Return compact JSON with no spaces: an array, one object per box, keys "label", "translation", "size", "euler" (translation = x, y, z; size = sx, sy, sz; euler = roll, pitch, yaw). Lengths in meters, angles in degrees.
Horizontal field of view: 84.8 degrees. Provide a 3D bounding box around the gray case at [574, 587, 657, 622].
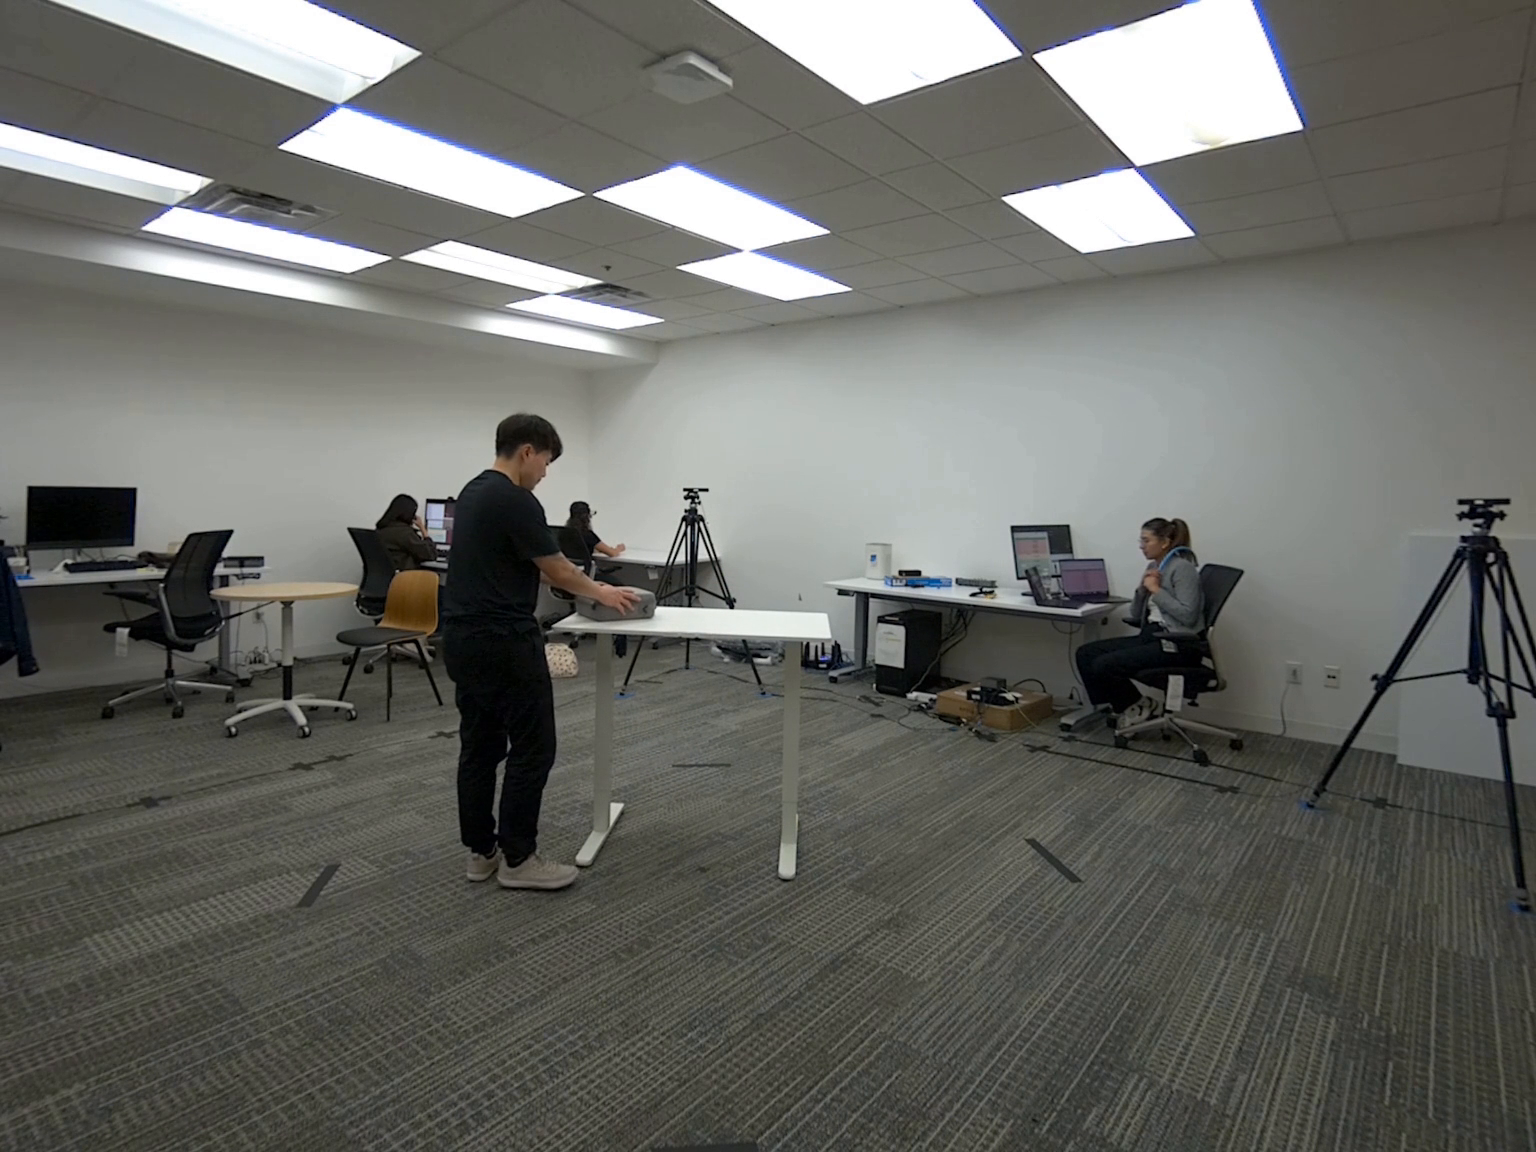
[{"label":"gray case","translation":[-0.606,0.105,3.347],"size":[0.254,0.104,0.264],"euler":[-1,4,-30]}]
